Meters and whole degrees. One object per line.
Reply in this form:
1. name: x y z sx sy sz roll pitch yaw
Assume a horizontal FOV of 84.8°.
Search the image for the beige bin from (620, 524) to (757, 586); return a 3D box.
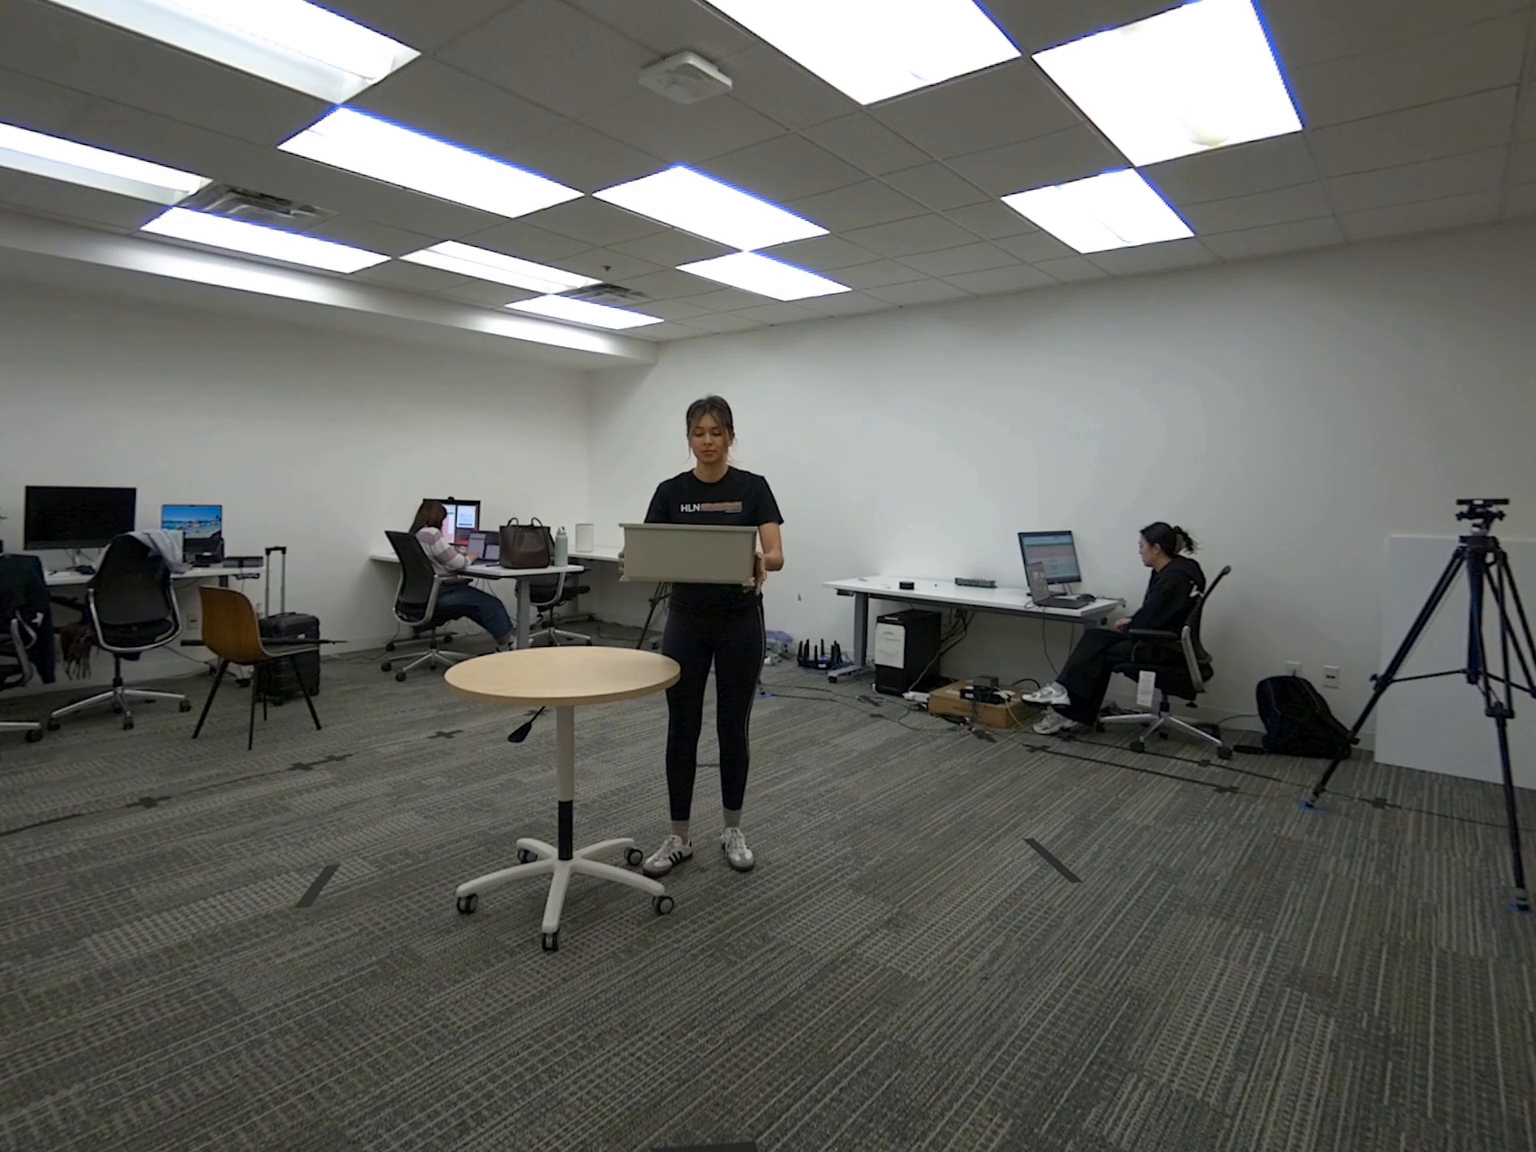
1. beige bin: -0.262 -0.080 2.765 0.423 0.188 0.378 2 5 2
